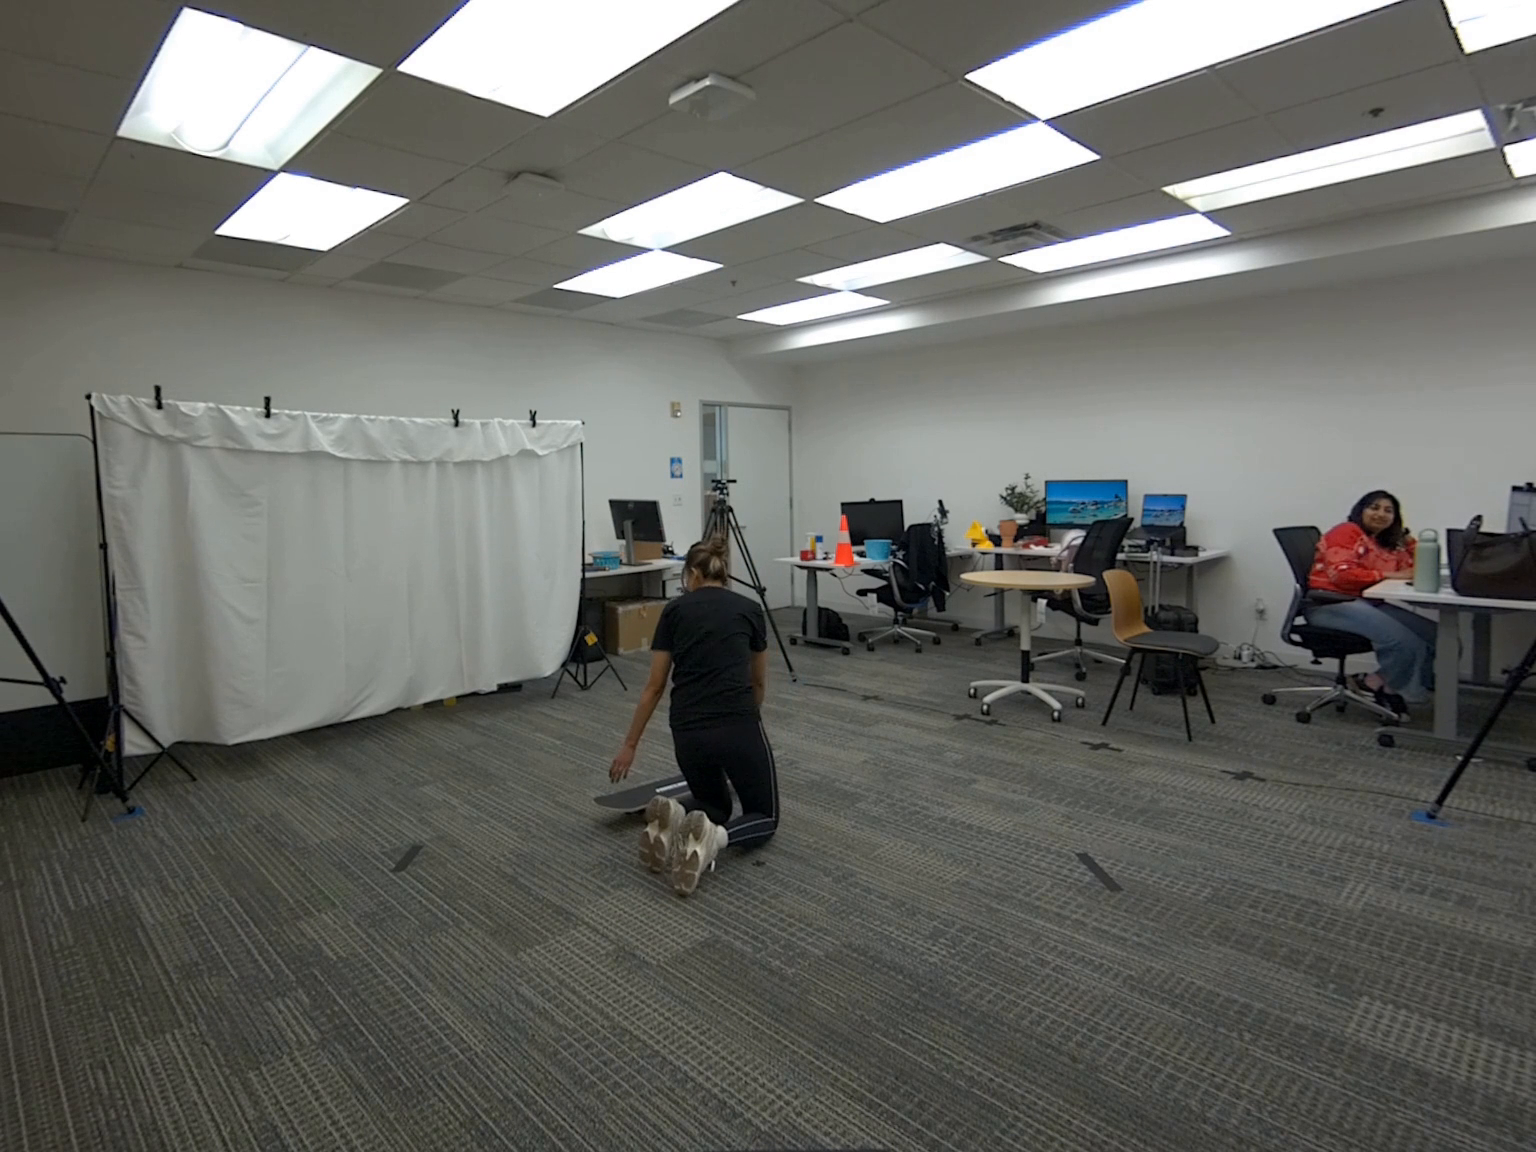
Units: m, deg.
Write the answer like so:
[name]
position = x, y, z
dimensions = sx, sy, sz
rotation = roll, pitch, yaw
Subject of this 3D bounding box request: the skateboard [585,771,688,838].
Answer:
[skateboard]
position = -0.390, 0.933, 3.678
dimensions = 0.765, 0.110, 0.199
rotation = -6, 7, -39
